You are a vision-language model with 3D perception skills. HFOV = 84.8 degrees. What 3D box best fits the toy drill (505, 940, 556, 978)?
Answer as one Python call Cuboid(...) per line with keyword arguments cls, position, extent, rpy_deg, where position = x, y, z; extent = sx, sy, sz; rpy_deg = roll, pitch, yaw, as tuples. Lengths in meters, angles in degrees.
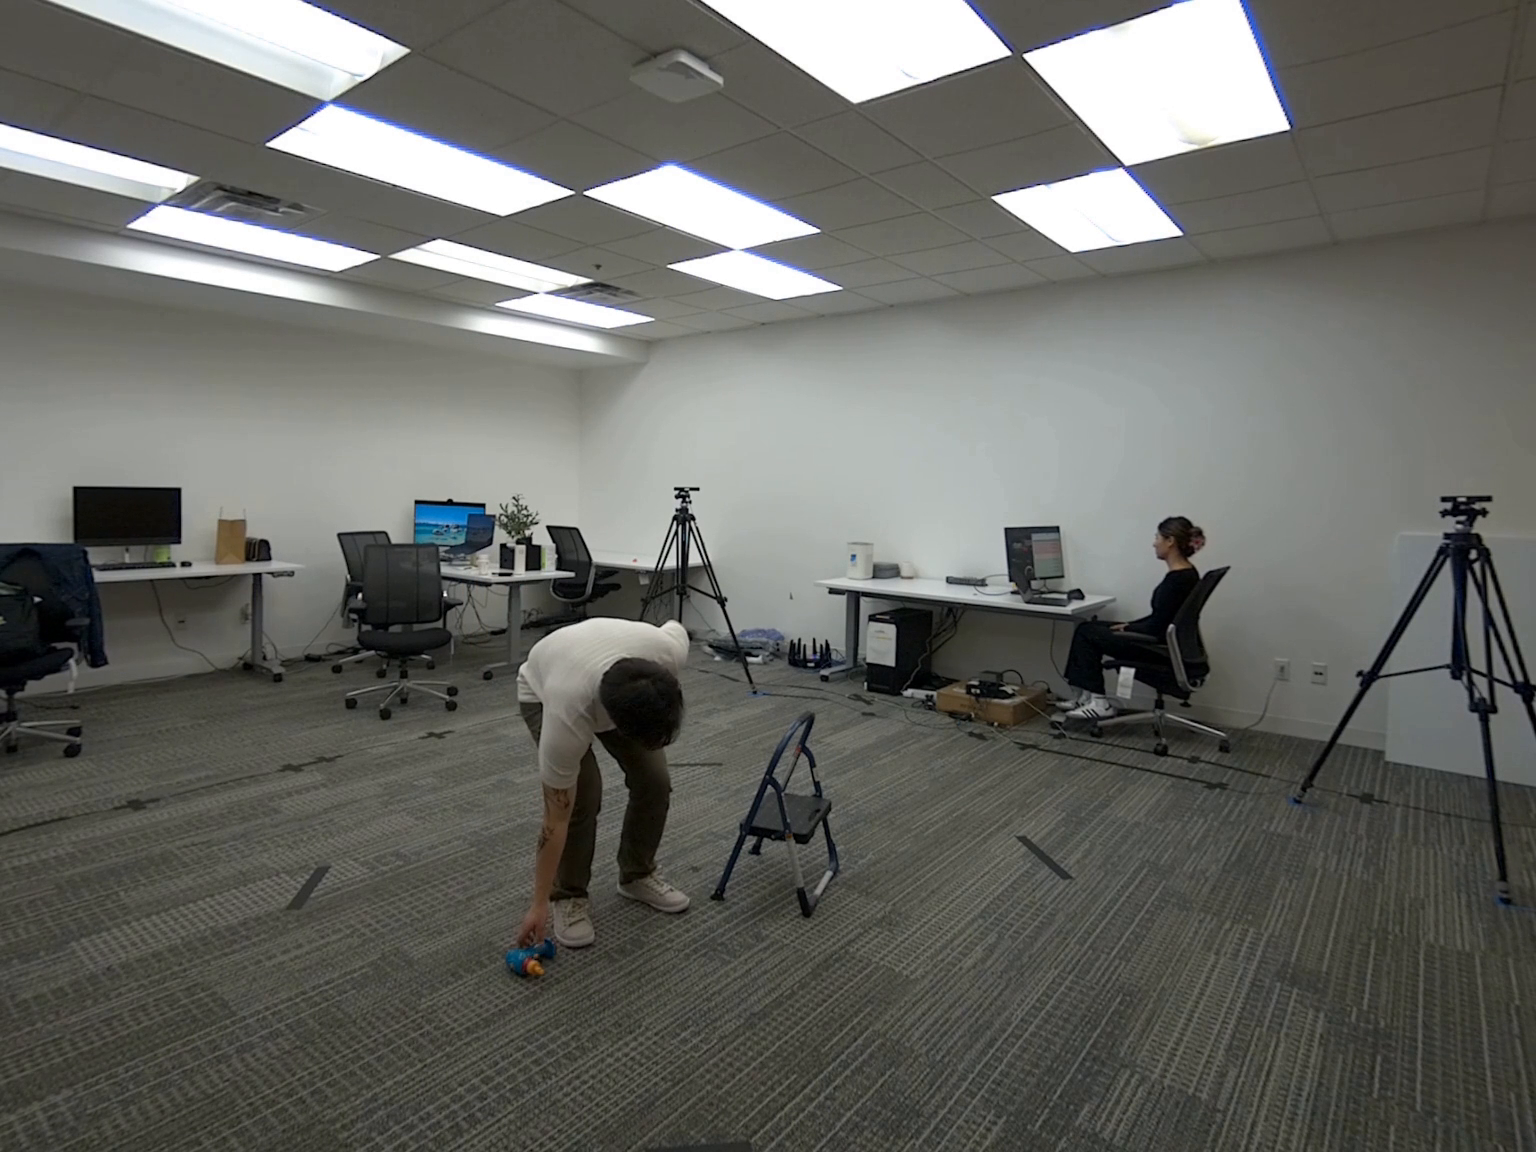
Cuboid(cls="toy drill", position=(-0.676, 1.096, 2.441), extent=(0.141, 0.061, 0.175), rpy_deg=(-3, 0, -43))
